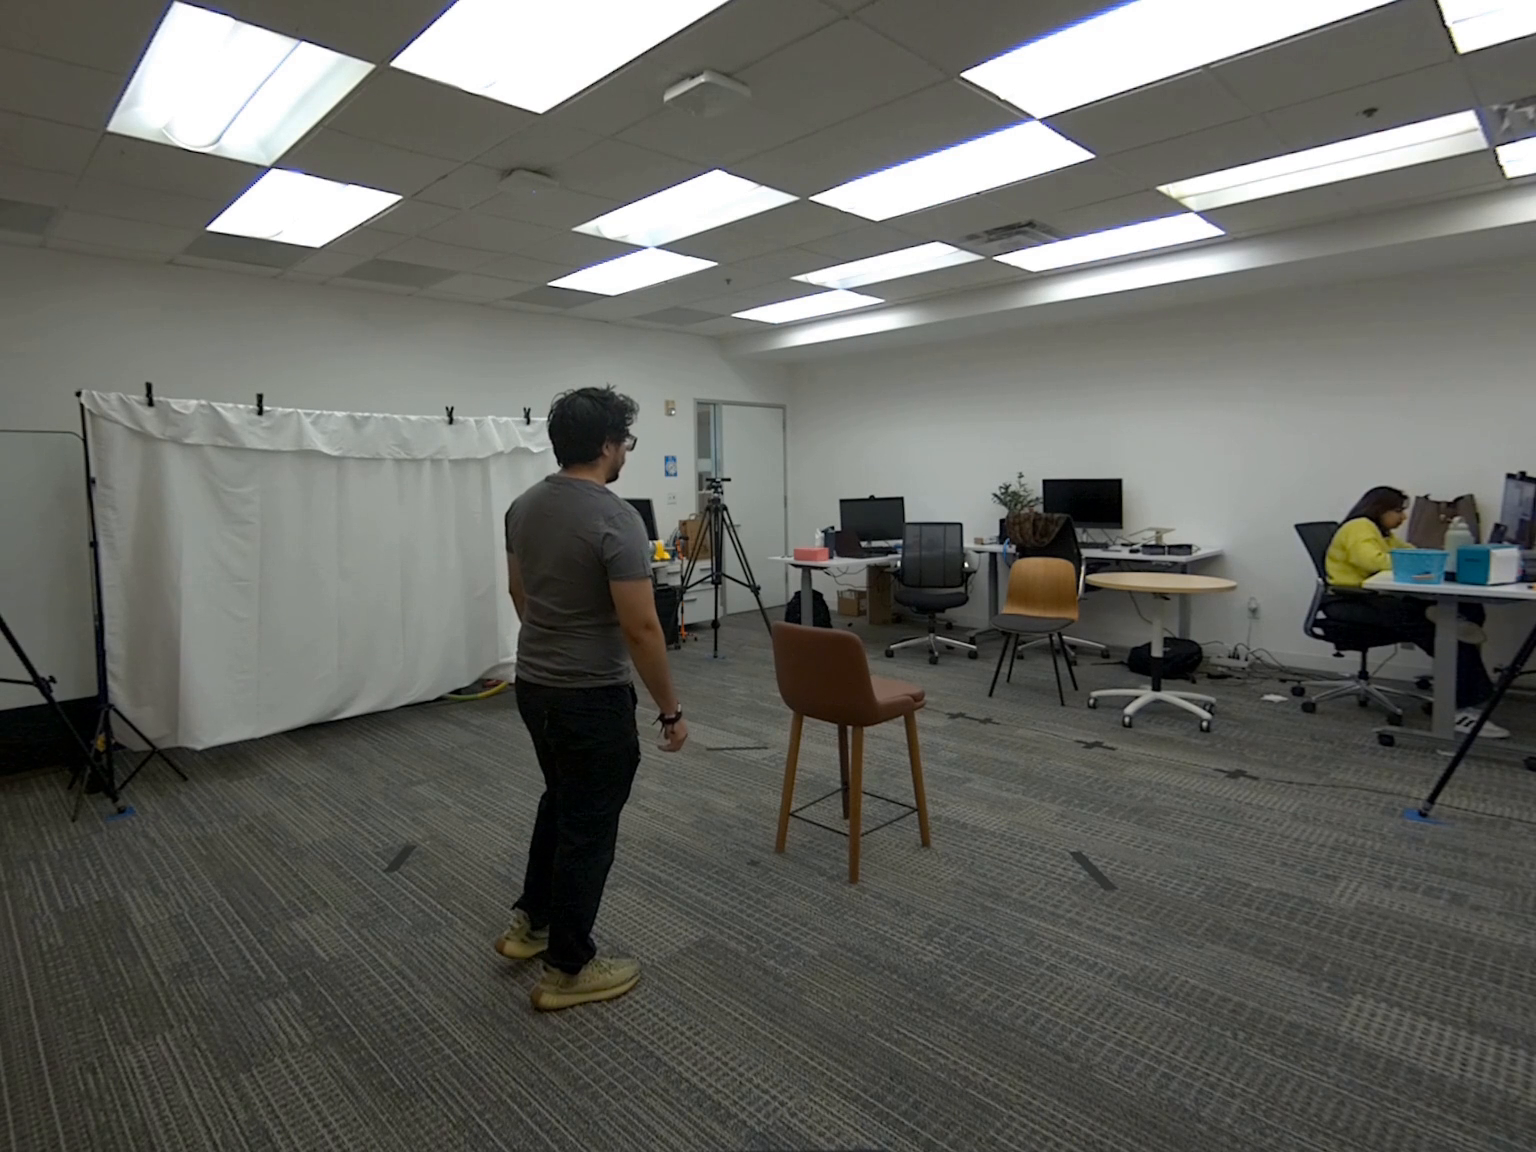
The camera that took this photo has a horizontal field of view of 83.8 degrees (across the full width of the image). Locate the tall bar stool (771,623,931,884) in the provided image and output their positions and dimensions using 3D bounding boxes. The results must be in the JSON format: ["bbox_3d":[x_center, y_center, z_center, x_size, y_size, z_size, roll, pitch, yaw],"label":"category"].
[{"bbox_3d":[0.306,0.592,3.188,0.455,0.885,0.471,-7,7,-44],"label":"tall bar stool"}]
